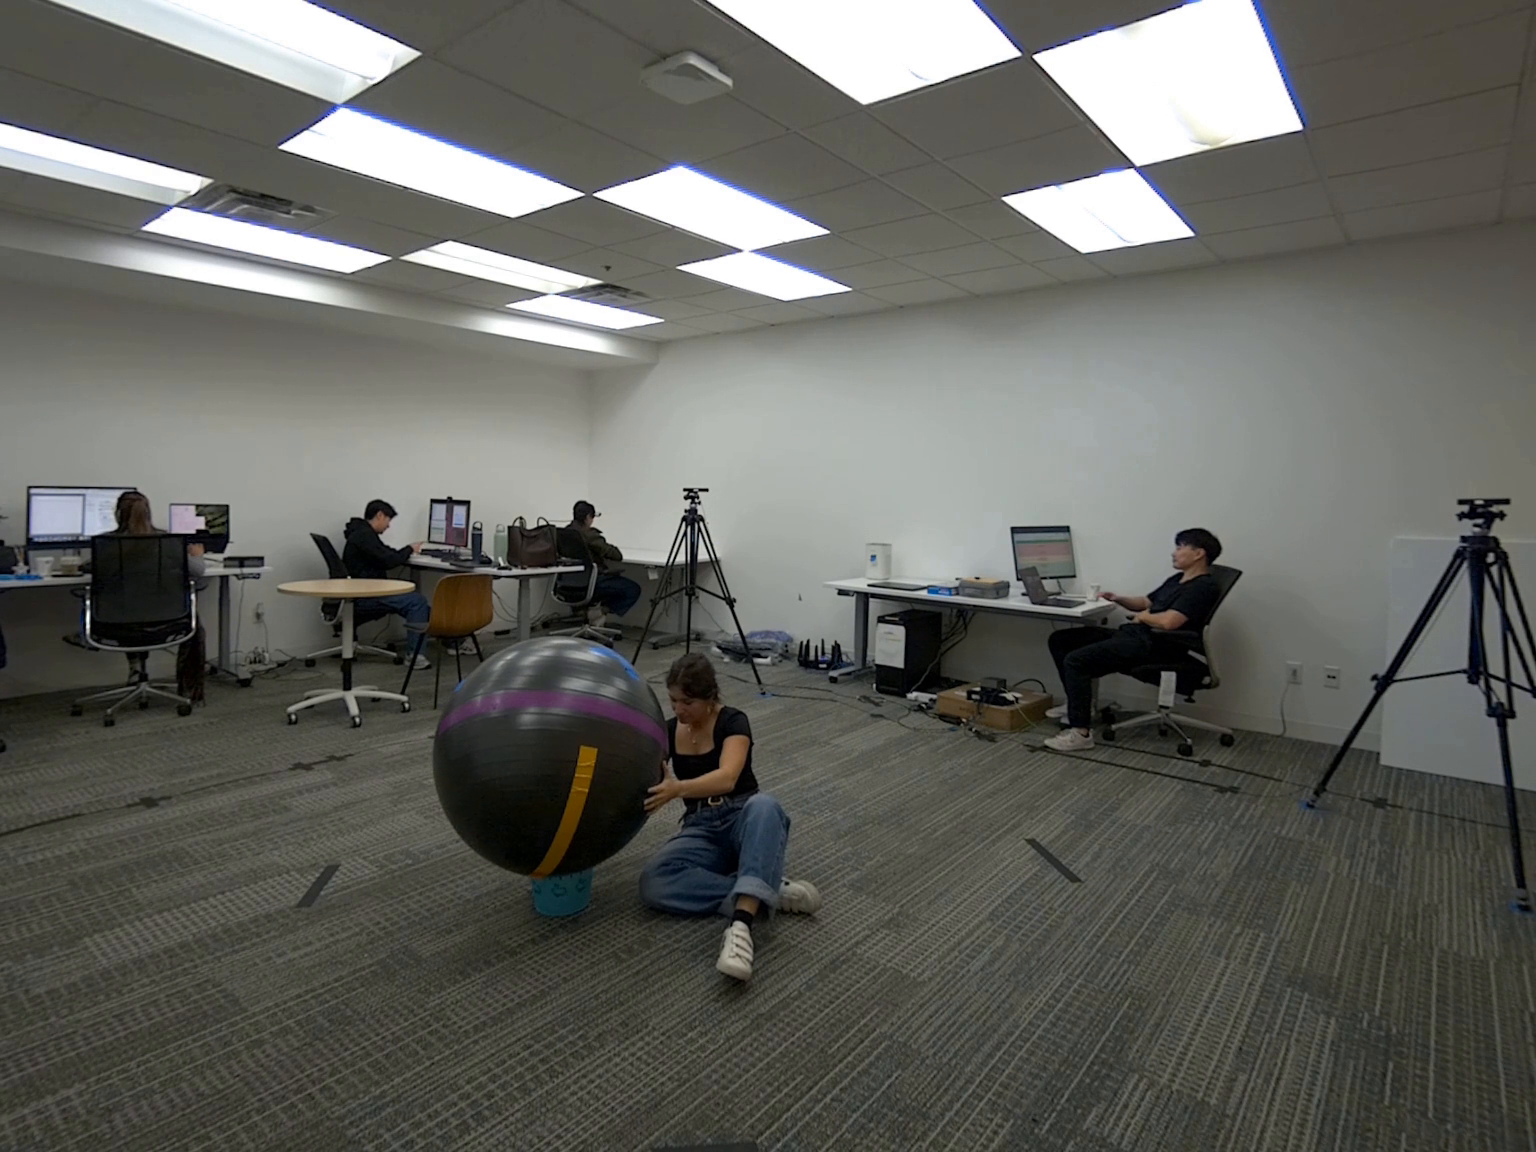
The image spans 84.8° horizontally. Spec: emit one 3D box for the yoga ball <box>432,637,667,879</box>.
[{"bbox_3d":[-0.725,0.582,2.777,0.757,0.755,0.762,1,4,-2],"label":"yoga ball"}]
